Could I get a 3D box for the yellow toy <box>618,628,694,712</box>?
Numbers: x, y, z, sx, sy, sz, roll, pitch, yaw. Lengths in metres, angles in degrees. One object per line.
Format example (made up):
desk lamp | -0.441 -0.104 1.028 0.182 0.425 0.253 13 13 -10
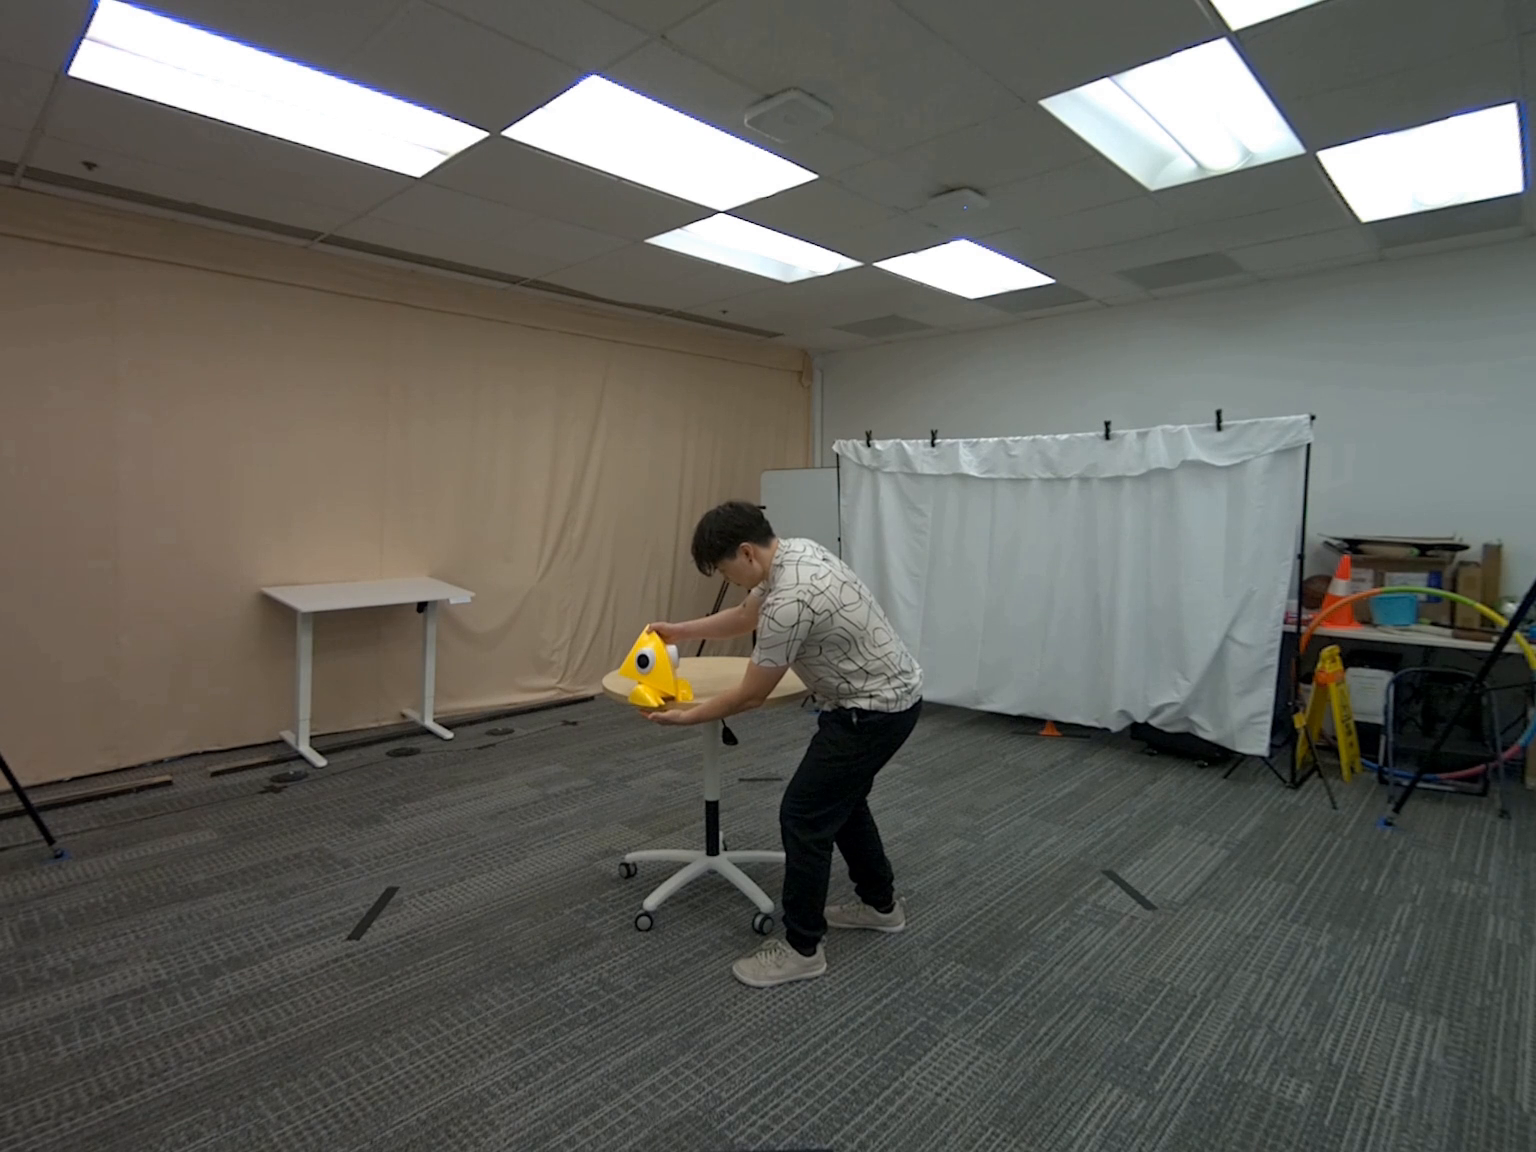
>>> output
yellow toy | -0.343 0.282 2.673 0.199 0.230 0.199 -3 5 -37
